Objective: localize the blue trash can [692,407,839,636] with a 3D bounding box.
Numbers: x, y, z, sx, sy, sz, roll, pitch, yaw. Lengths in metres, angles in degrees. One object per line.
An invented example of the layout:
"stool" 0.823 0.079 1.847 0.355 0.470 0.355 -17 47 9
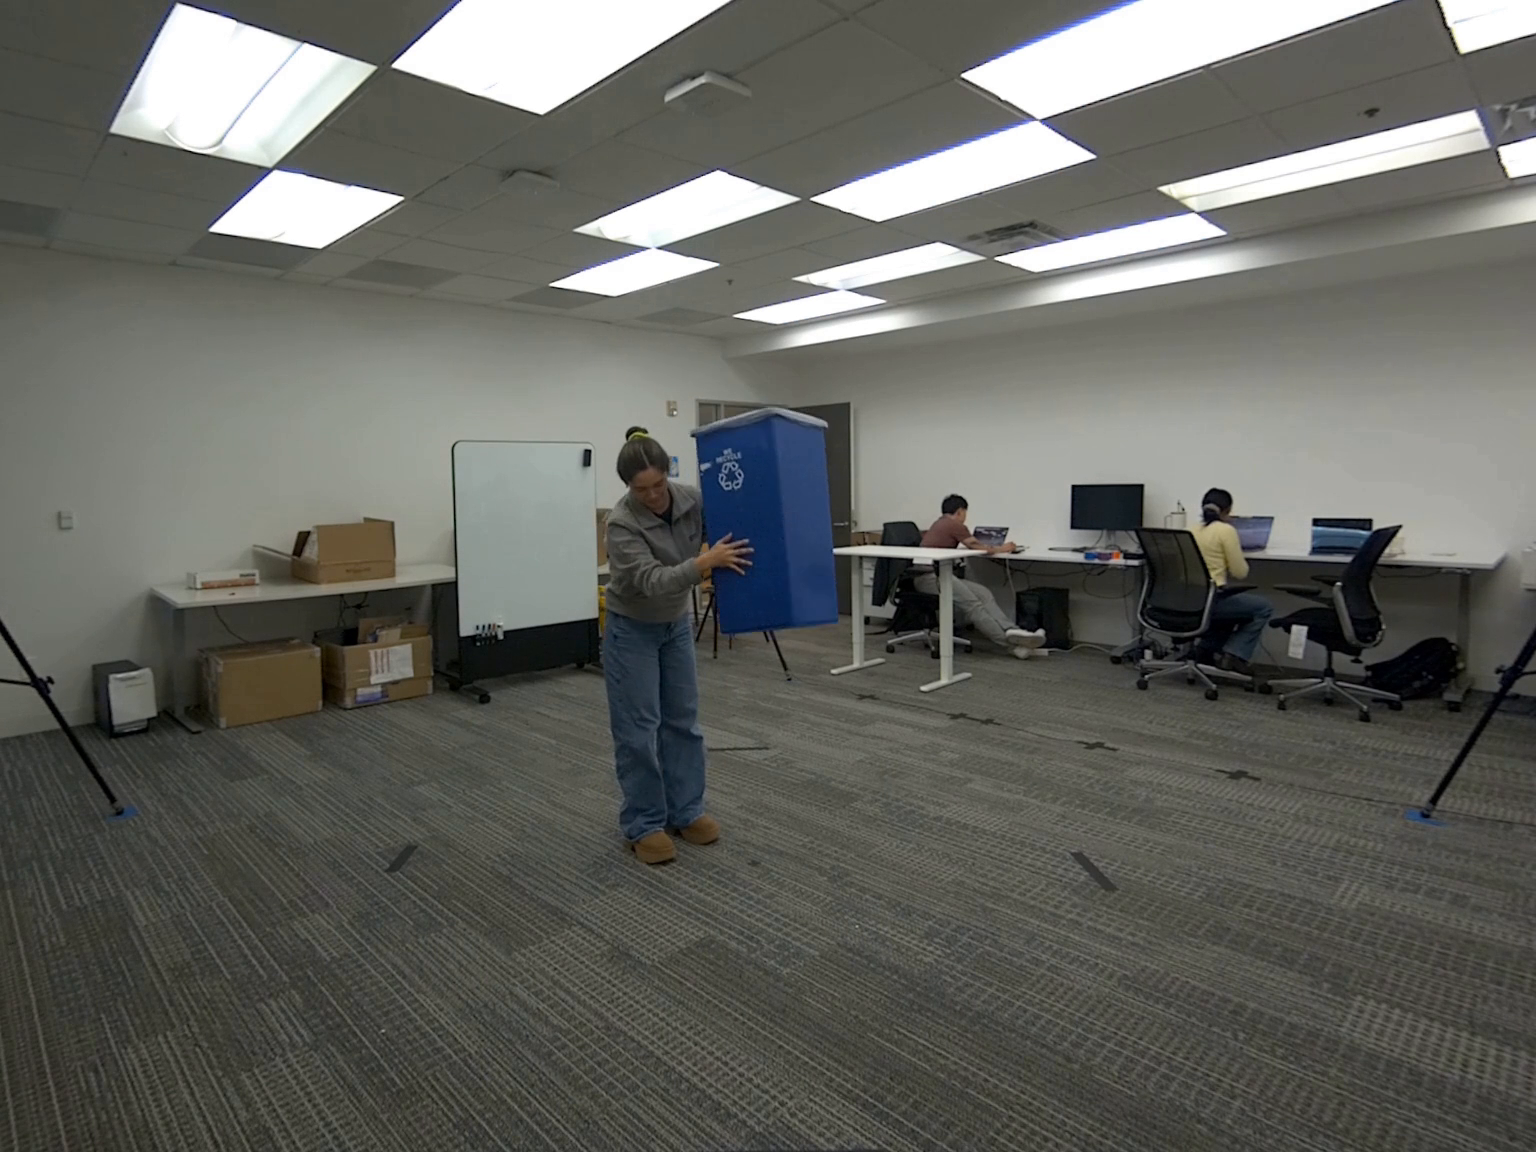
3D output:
"blue trash can" 0.012 -0.174 2.966 0.382 0.719 0.367 -11 -8 35
